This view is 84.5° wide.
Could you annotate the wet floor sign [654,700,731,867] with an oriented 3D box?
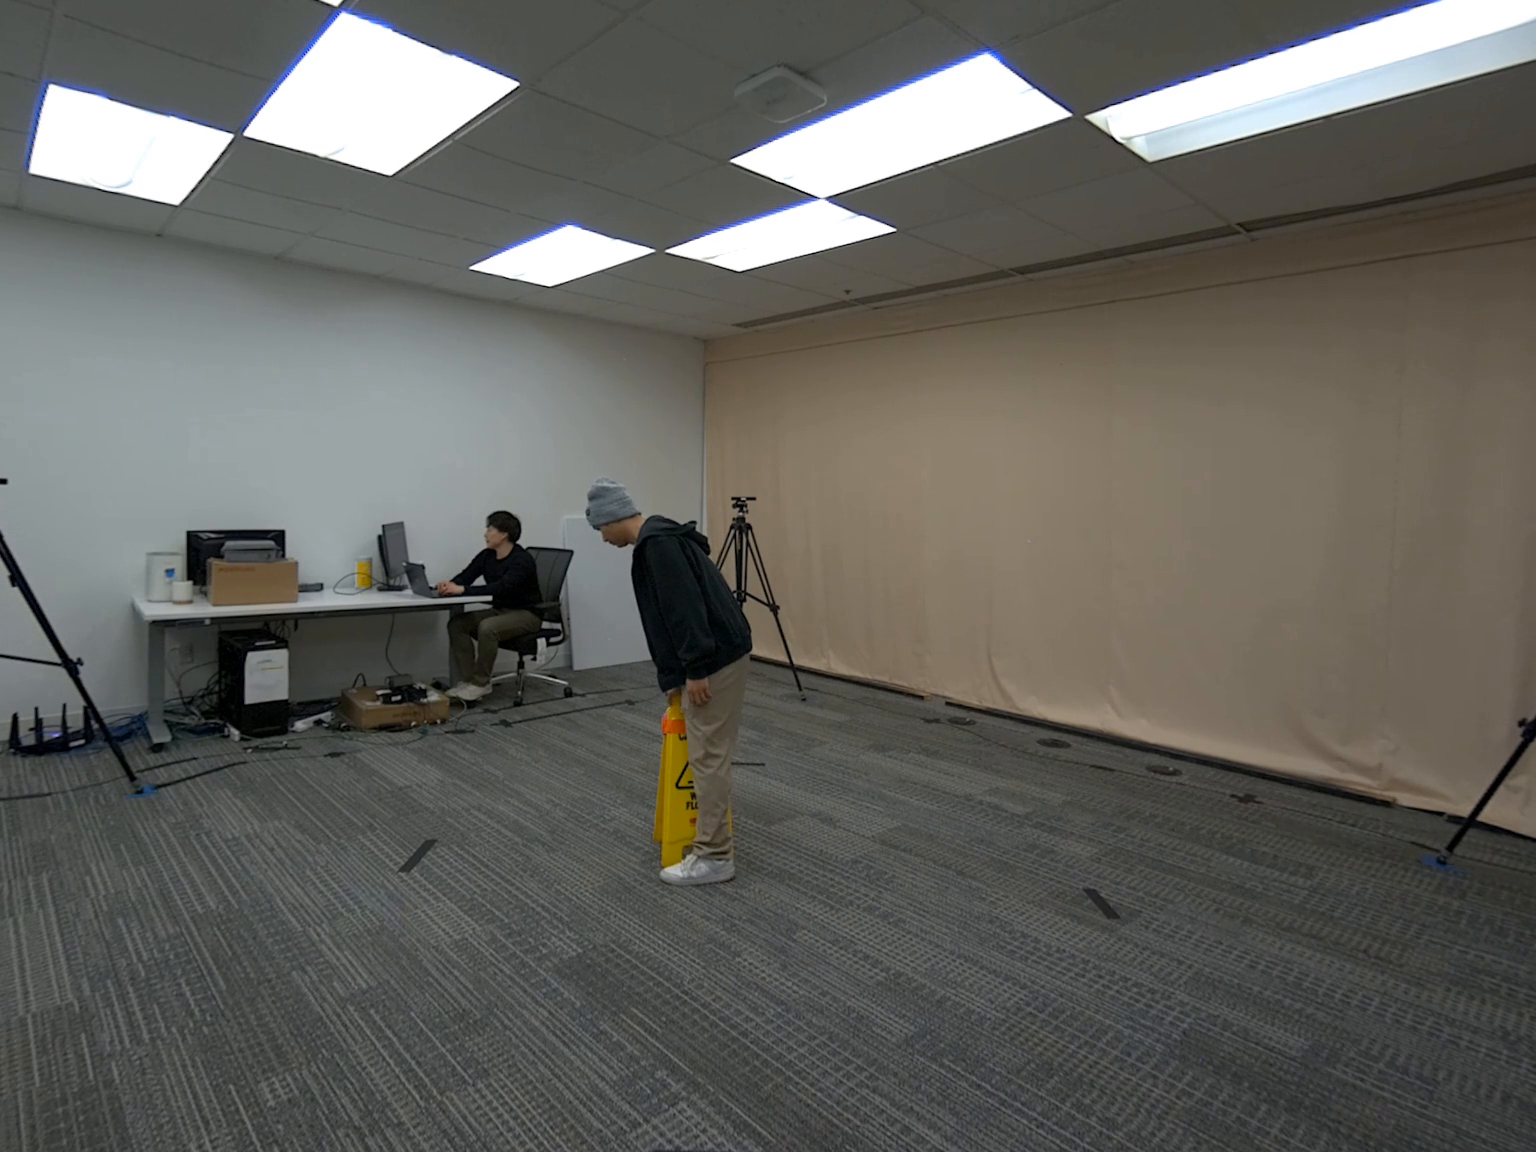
[{"bbox_3d":[-0.306,0.766,3.304,0.279,0.645,0.293,0,2,-13],"label":"wet floor sign"}]
